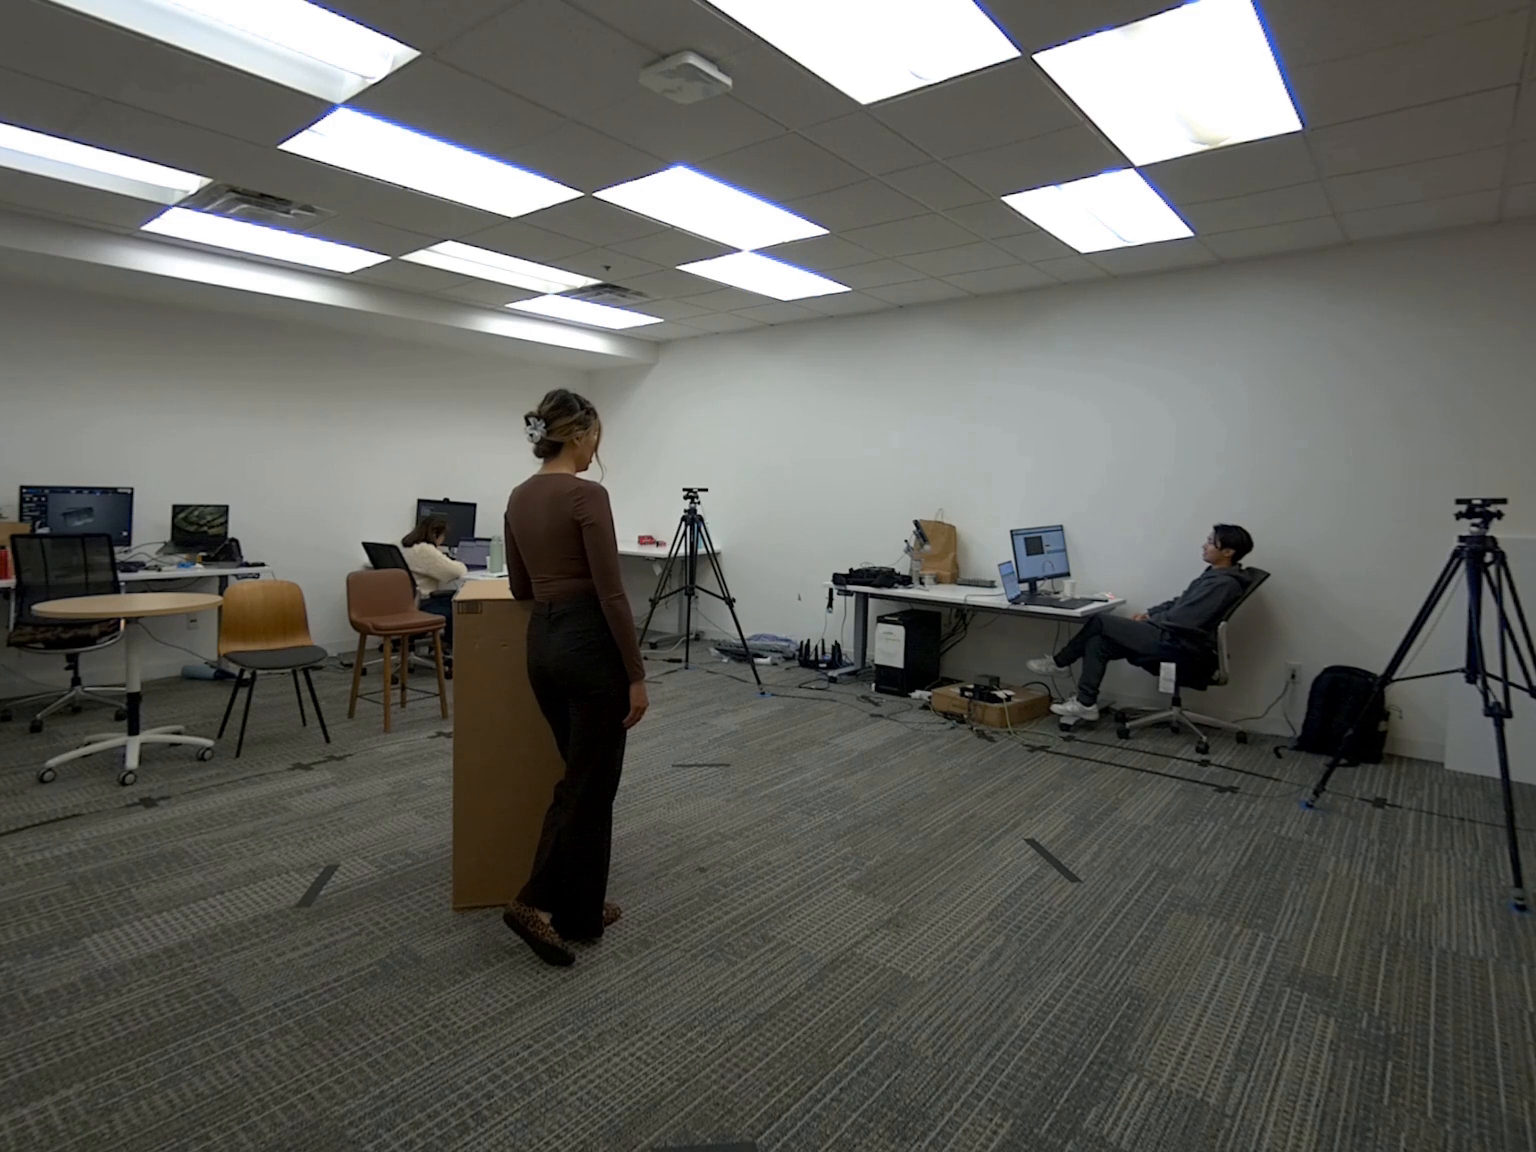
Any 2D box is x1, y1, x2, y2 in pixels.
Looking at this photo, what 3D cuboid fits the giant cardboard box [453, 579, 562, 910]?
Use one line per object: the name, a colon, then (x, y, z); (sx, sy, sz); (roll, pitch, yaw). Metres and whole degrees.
giant cardboard box: (-0.913, 0.552, 3.081); (0.440, 1.024, 0.595); (0, 3, -16)
